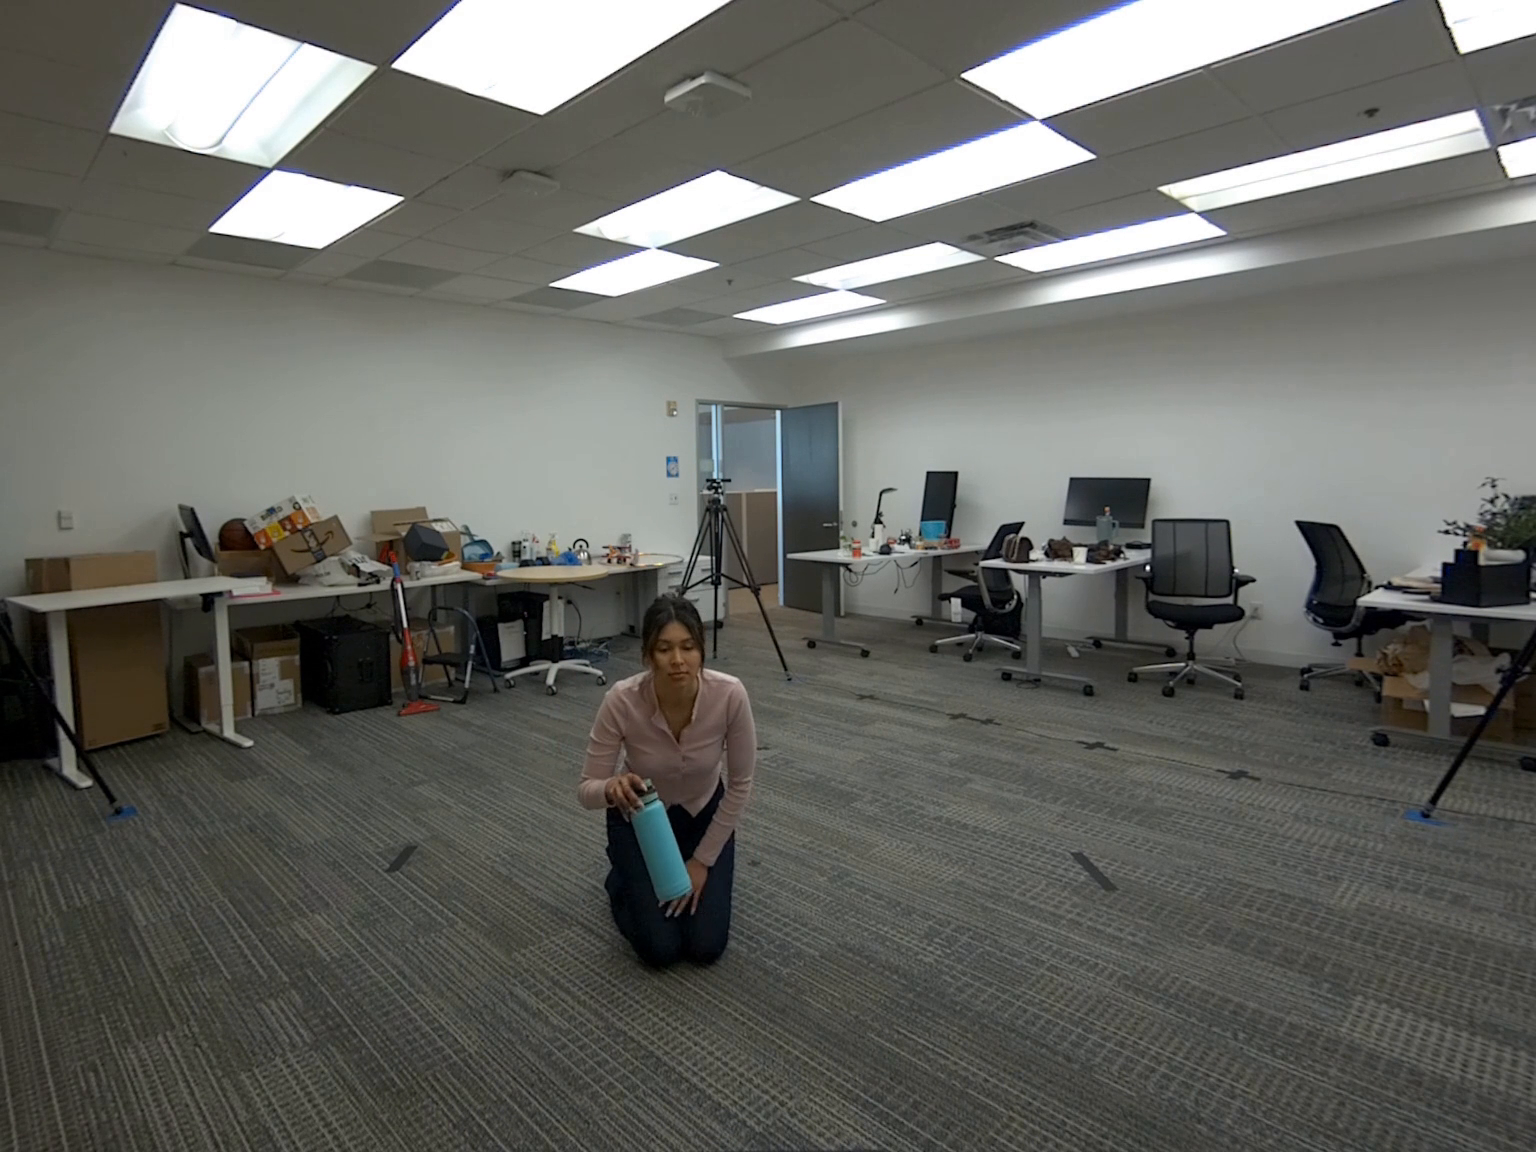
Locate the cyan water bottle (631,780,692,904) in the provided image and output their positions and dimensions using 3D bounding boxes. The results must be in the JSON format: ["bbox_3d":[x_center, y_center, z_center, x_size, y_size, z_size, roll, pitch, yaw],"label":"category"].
[{"bbox_3d":[-0.281,0.656,2.131,0.092,0.286,0.092,-19,-7,-4],"label":"cyan water bottle"}]
